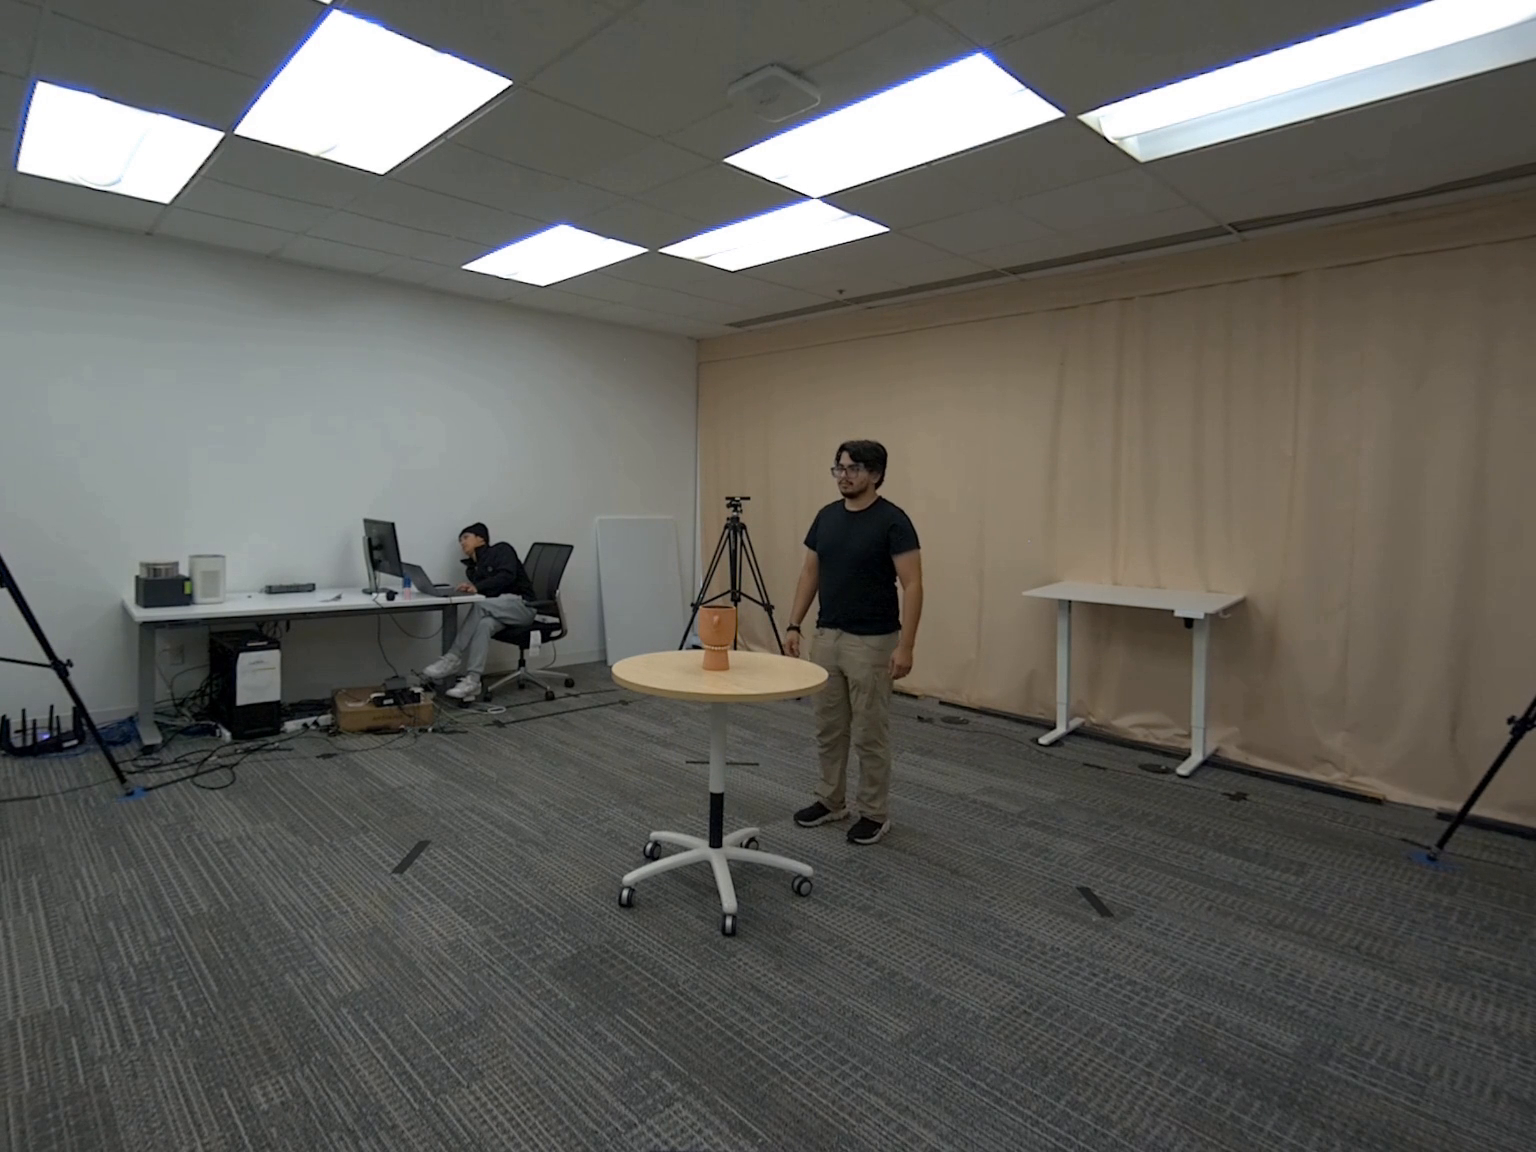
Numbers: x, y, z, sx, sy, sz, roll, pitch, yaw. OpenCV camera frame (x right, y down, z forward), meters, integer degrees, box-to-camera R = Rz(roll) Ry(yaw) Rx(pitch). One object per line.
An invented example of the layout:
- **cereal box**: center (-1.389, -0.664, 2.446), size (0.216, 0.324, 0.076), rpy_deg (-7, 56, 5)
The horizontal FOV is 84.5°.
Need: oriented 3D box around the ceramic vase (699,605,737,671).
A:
- **ceramic vase**: center (-0.187, 0.222, 2.998), size (0.138, 0.219, 0.155), rpy_deg (6, 6, 40)
